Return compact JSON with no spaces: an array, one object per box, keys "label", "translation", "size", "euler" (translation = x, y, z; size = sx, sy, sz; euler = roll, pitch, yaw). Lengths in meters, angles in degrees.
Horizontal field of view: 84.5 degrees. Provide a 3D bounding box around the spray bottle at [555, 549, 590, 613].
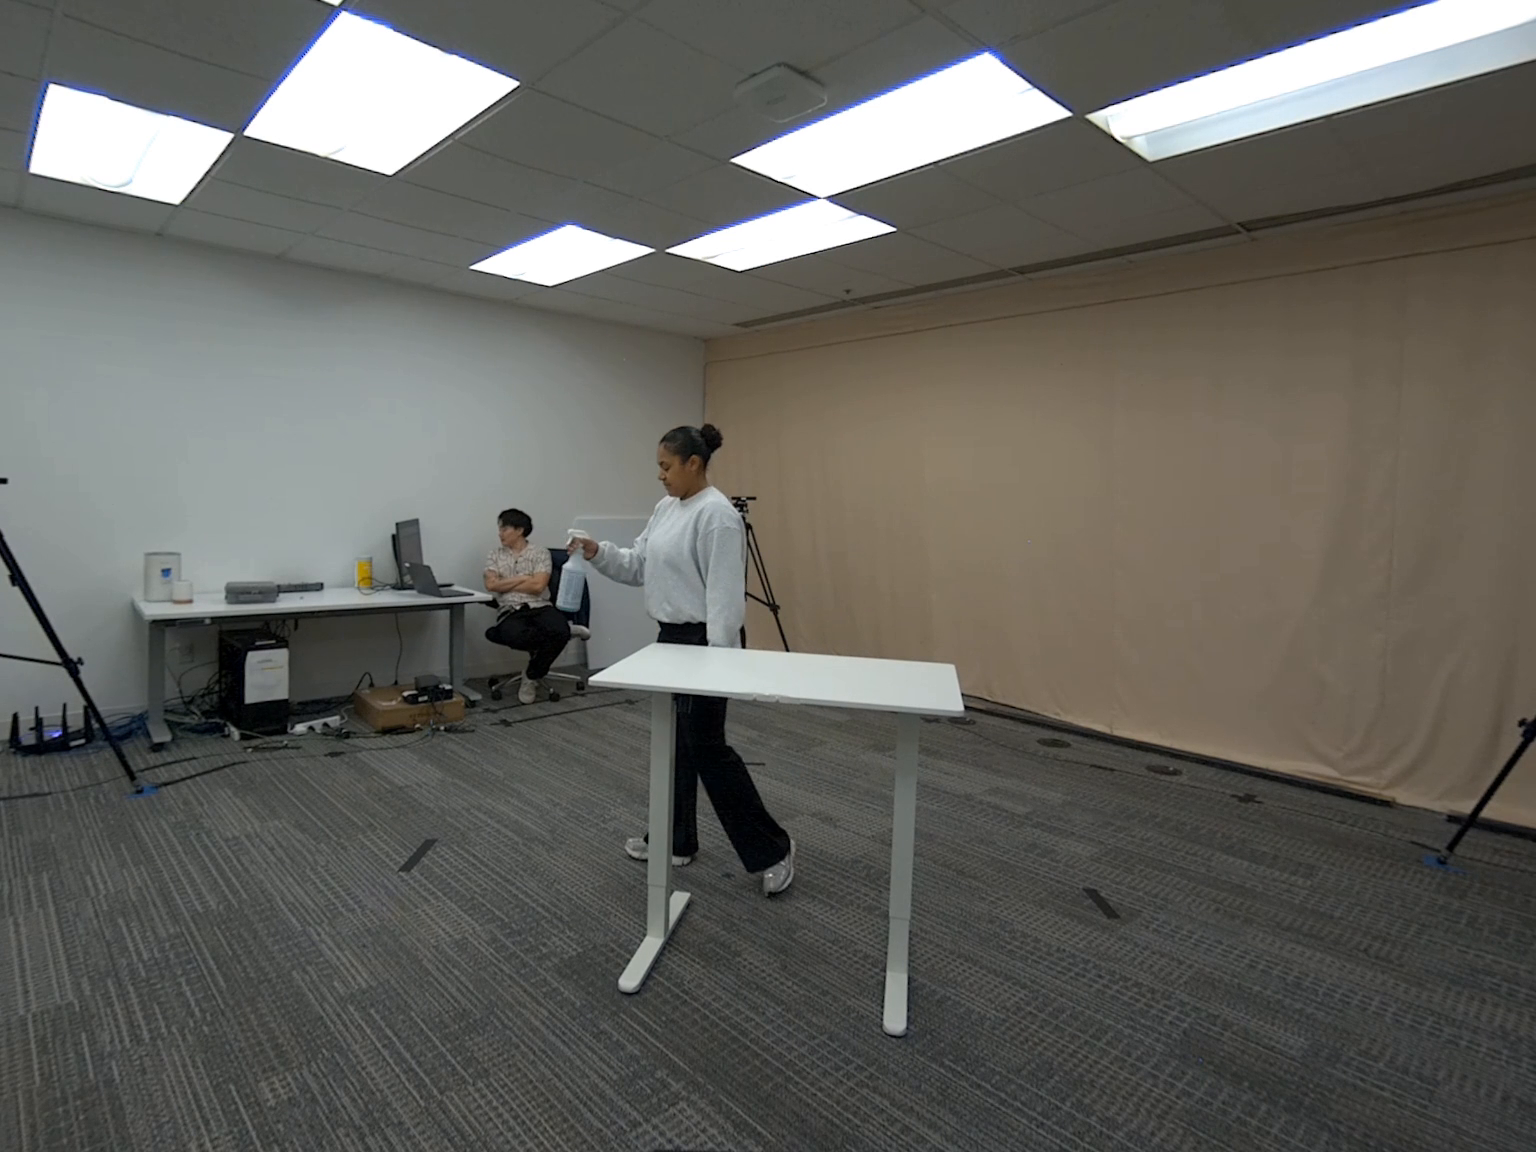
[{"label":"spray bottle","translation":[-0.699,-0.016,3.061],"size":[0.089,0.296,0.088],"euler":[8,7,-16]}]
